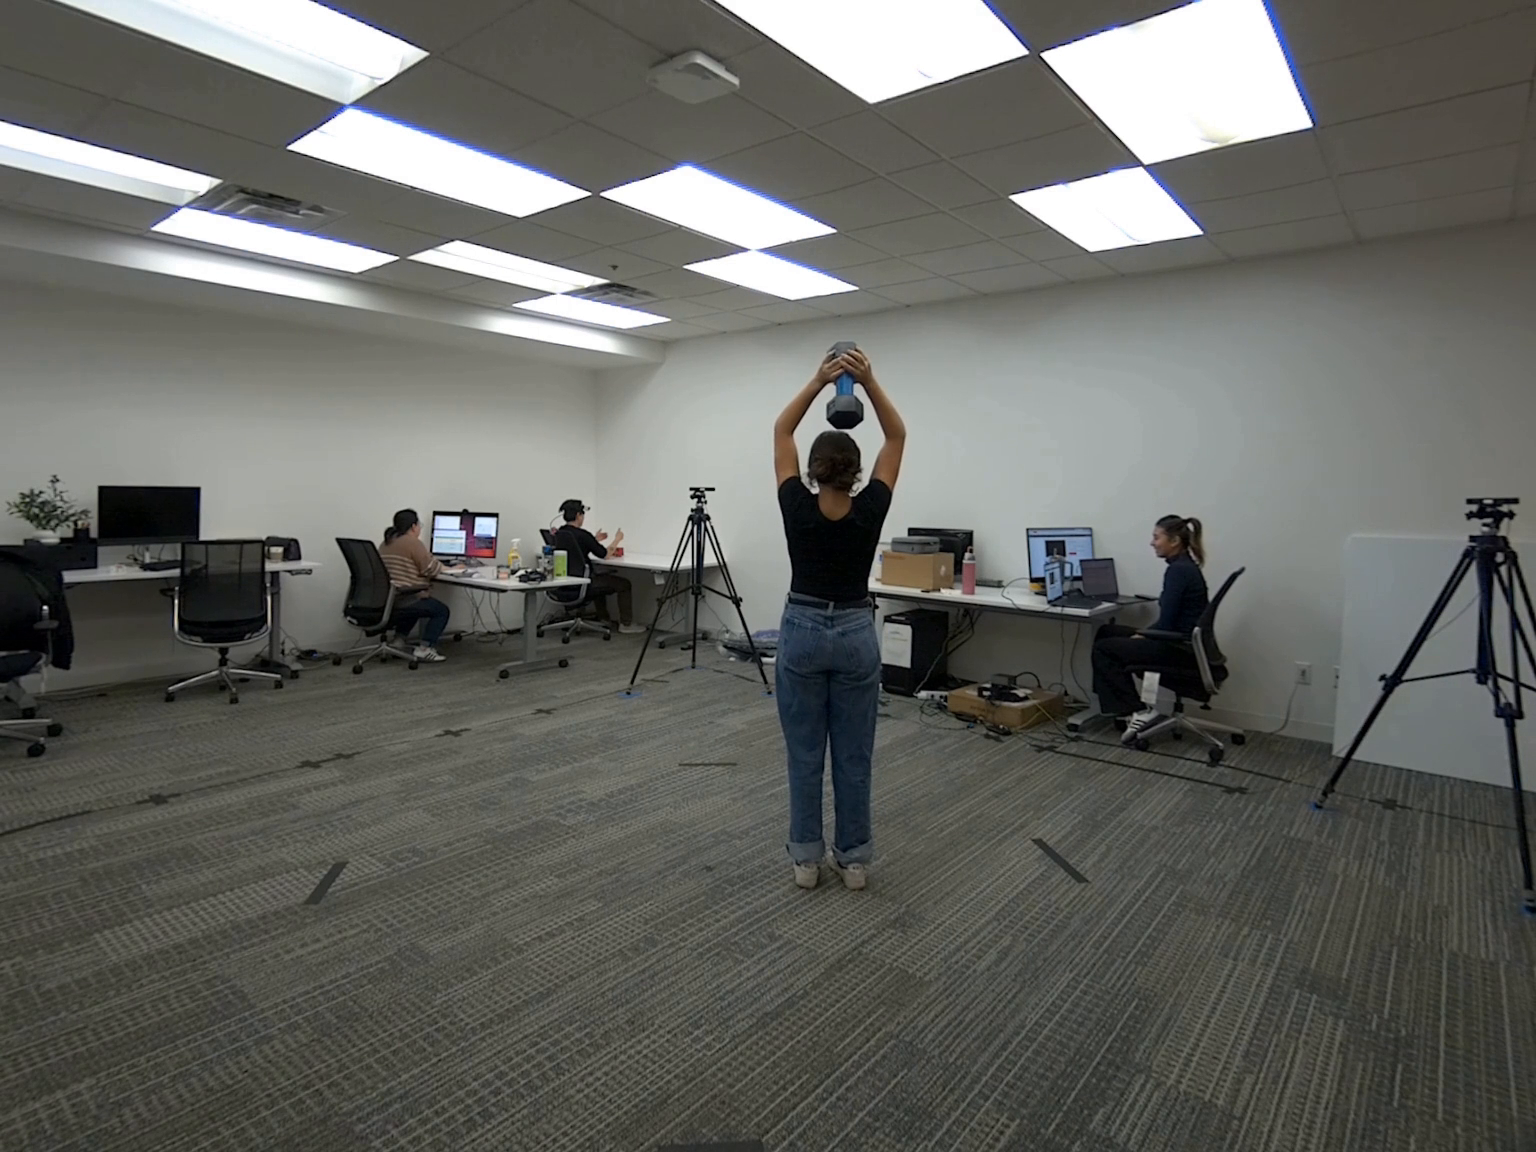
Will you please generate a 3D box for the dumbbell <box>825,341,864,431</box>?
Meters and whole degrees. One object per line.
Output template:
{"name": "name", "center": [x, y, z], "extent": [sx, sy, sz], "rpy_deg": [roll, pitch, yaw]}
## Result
{"name": "dumbbell", "center": [0.251, -0.631, 2.843], "extent": [0.111, 0.299, 0.118], "rpy_deg": [-12, -29, 32]}
